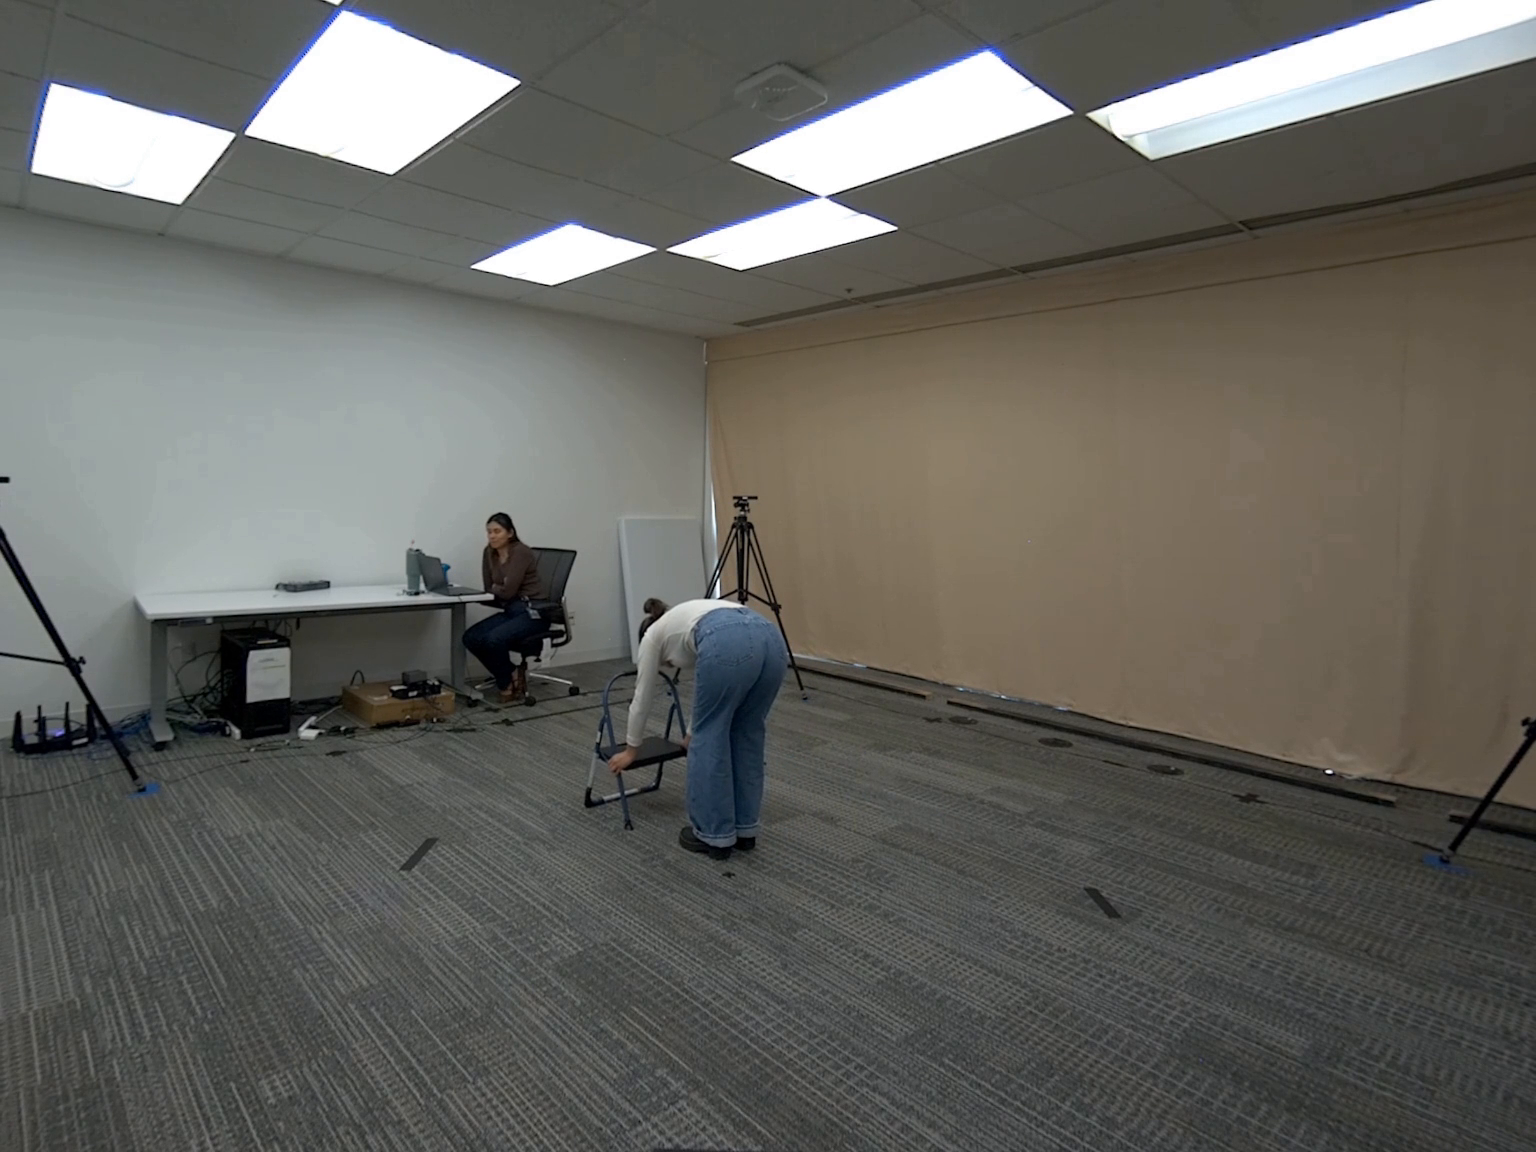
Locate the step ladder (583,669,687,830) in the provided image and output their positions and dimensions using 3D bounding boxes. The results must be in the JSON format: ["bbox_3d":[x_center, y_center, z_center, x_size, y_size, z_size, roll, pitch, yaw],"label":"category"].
[{"bbox_3d":[-0.555,0.731,3.752,0.358,0.605,0.421,4,5,45],"label":"step ladder"}]
